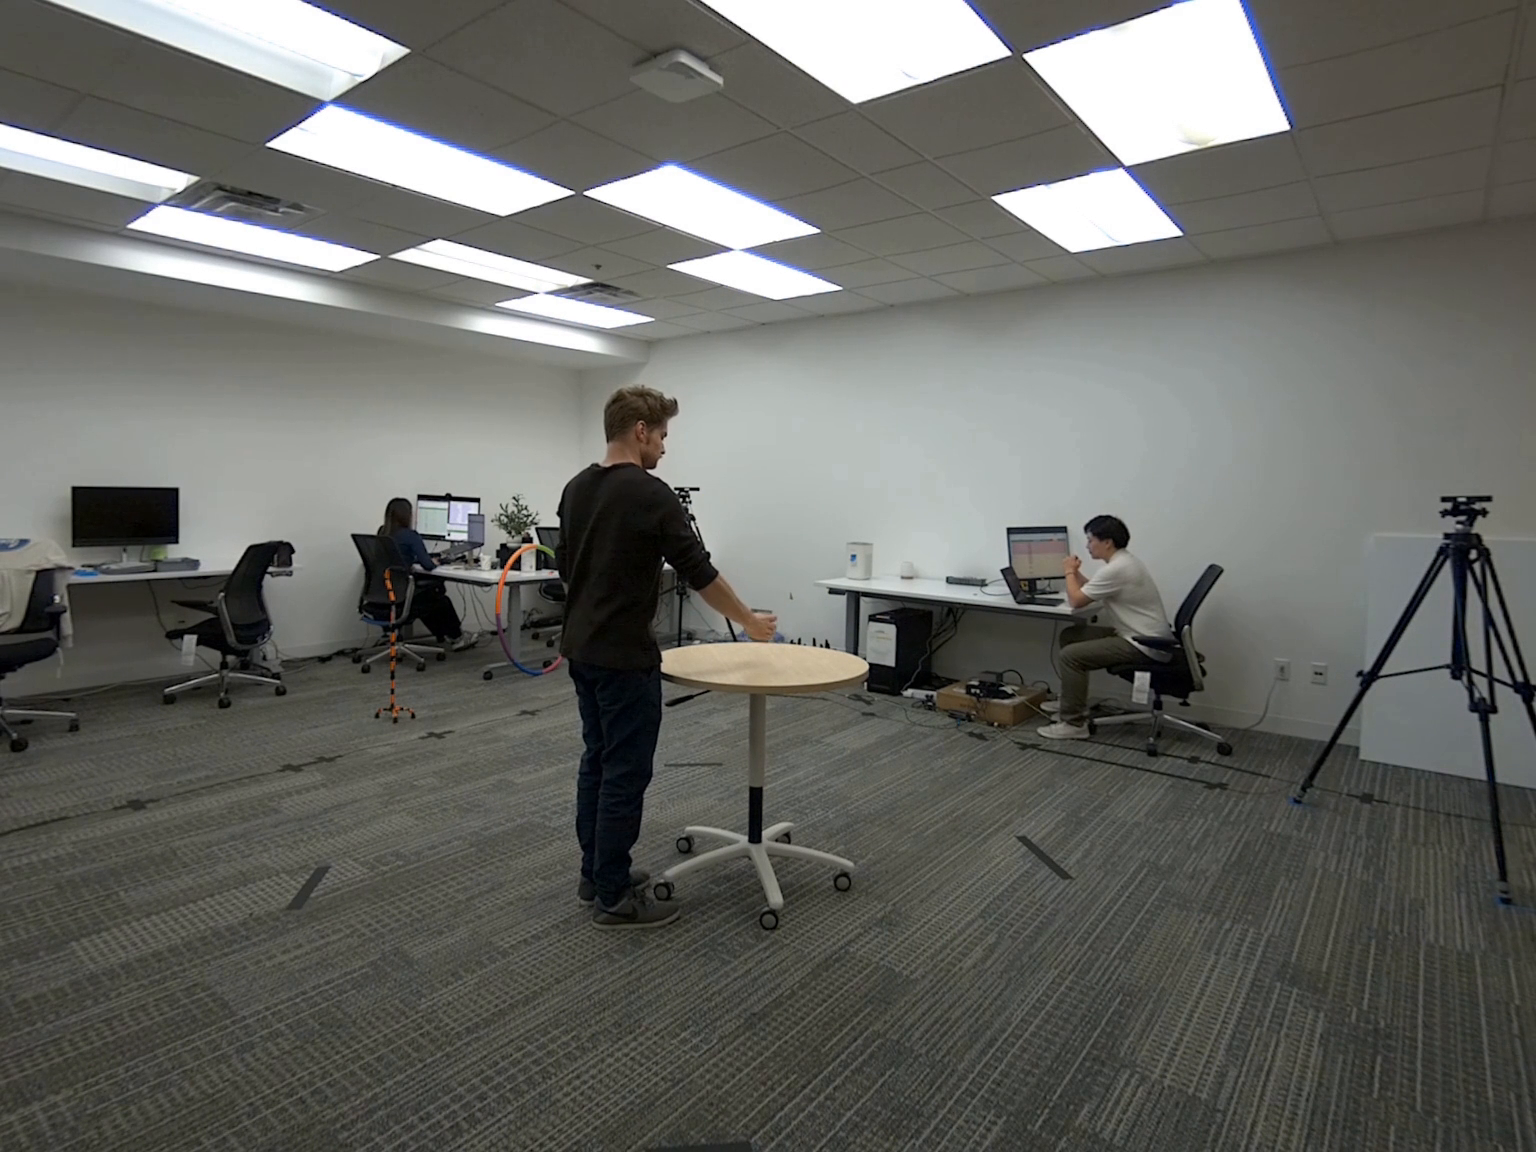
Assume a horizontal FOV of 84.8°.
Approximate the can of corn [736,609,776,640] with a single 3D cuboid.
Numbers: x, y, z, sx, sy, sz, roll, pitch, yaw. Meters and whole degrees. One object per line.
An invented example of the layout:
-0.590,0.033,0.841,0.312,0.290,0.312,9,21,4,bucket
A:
-0.036,0.172,2.927,0.074,0.111,0.074,7,1,-2,can of corn
